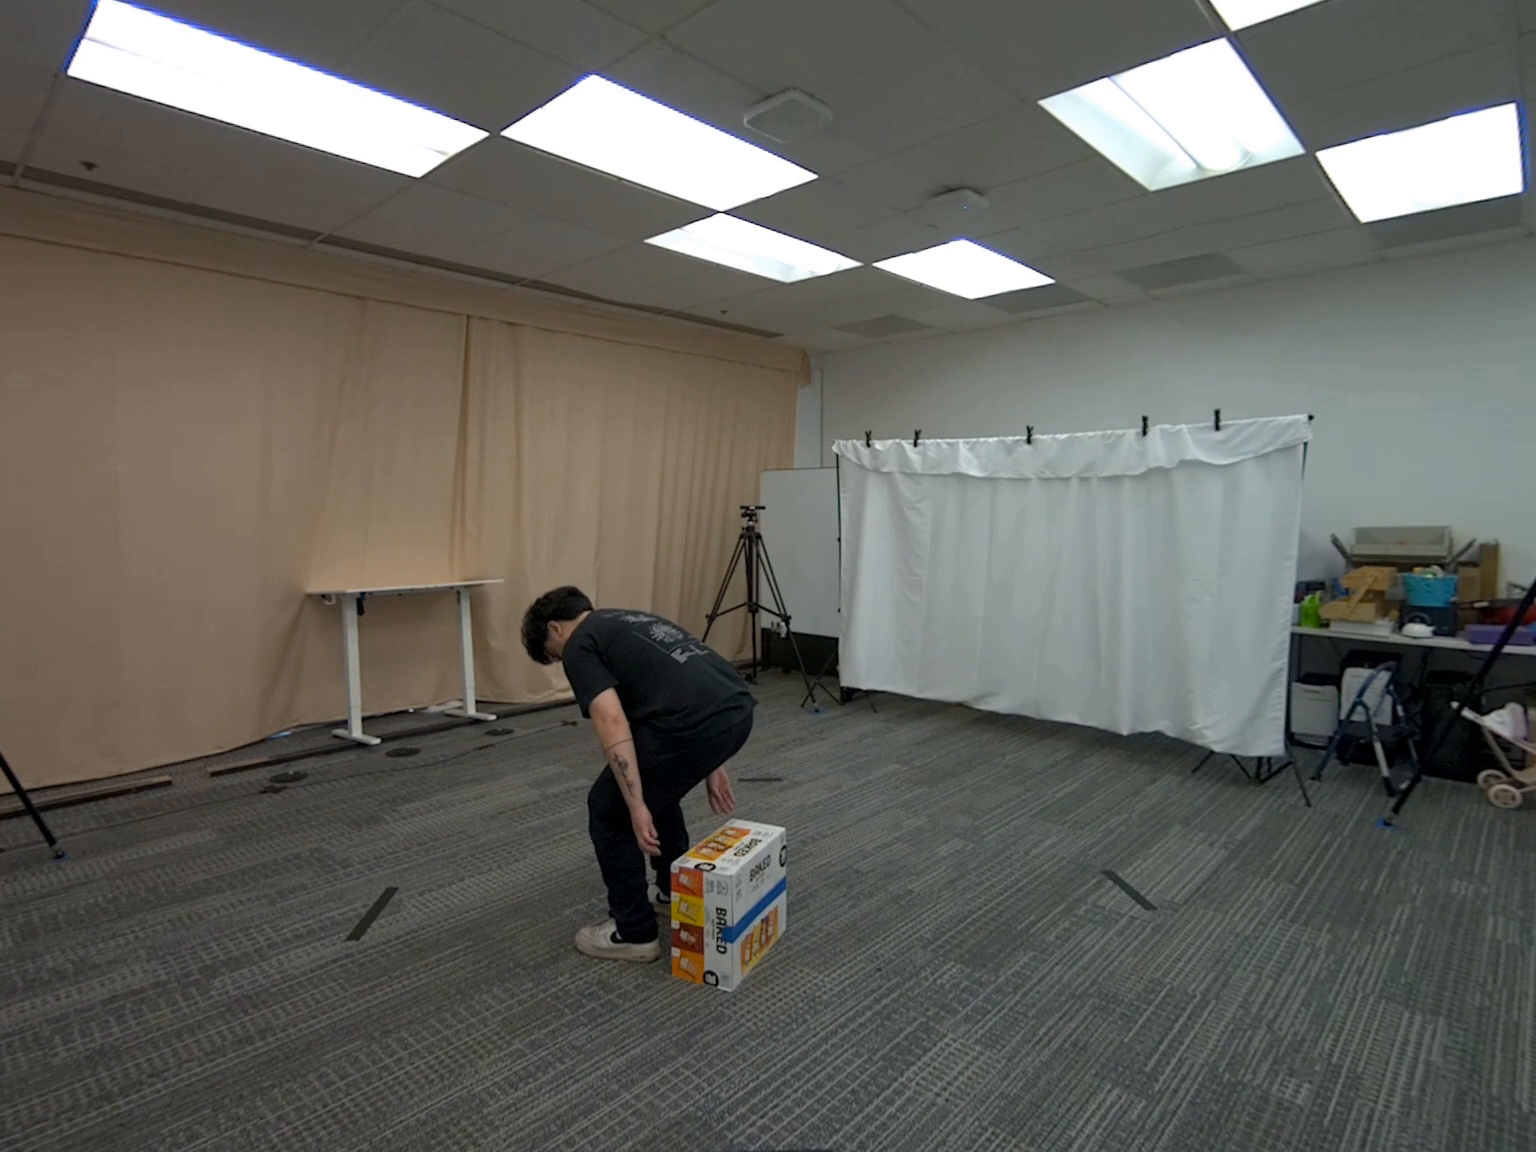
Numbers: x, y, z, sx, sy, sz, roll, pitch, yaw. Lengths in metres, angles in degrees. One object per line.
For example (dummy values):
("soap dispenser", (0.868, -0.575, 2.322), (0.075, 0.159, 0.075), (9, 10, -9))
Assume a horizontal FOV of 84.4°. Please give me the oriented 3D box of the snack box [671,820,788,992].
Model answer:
("snack box", (-0.112, 1.003, 2.625), (0.211, 0.340, 0.396), (1, 4, 25))
